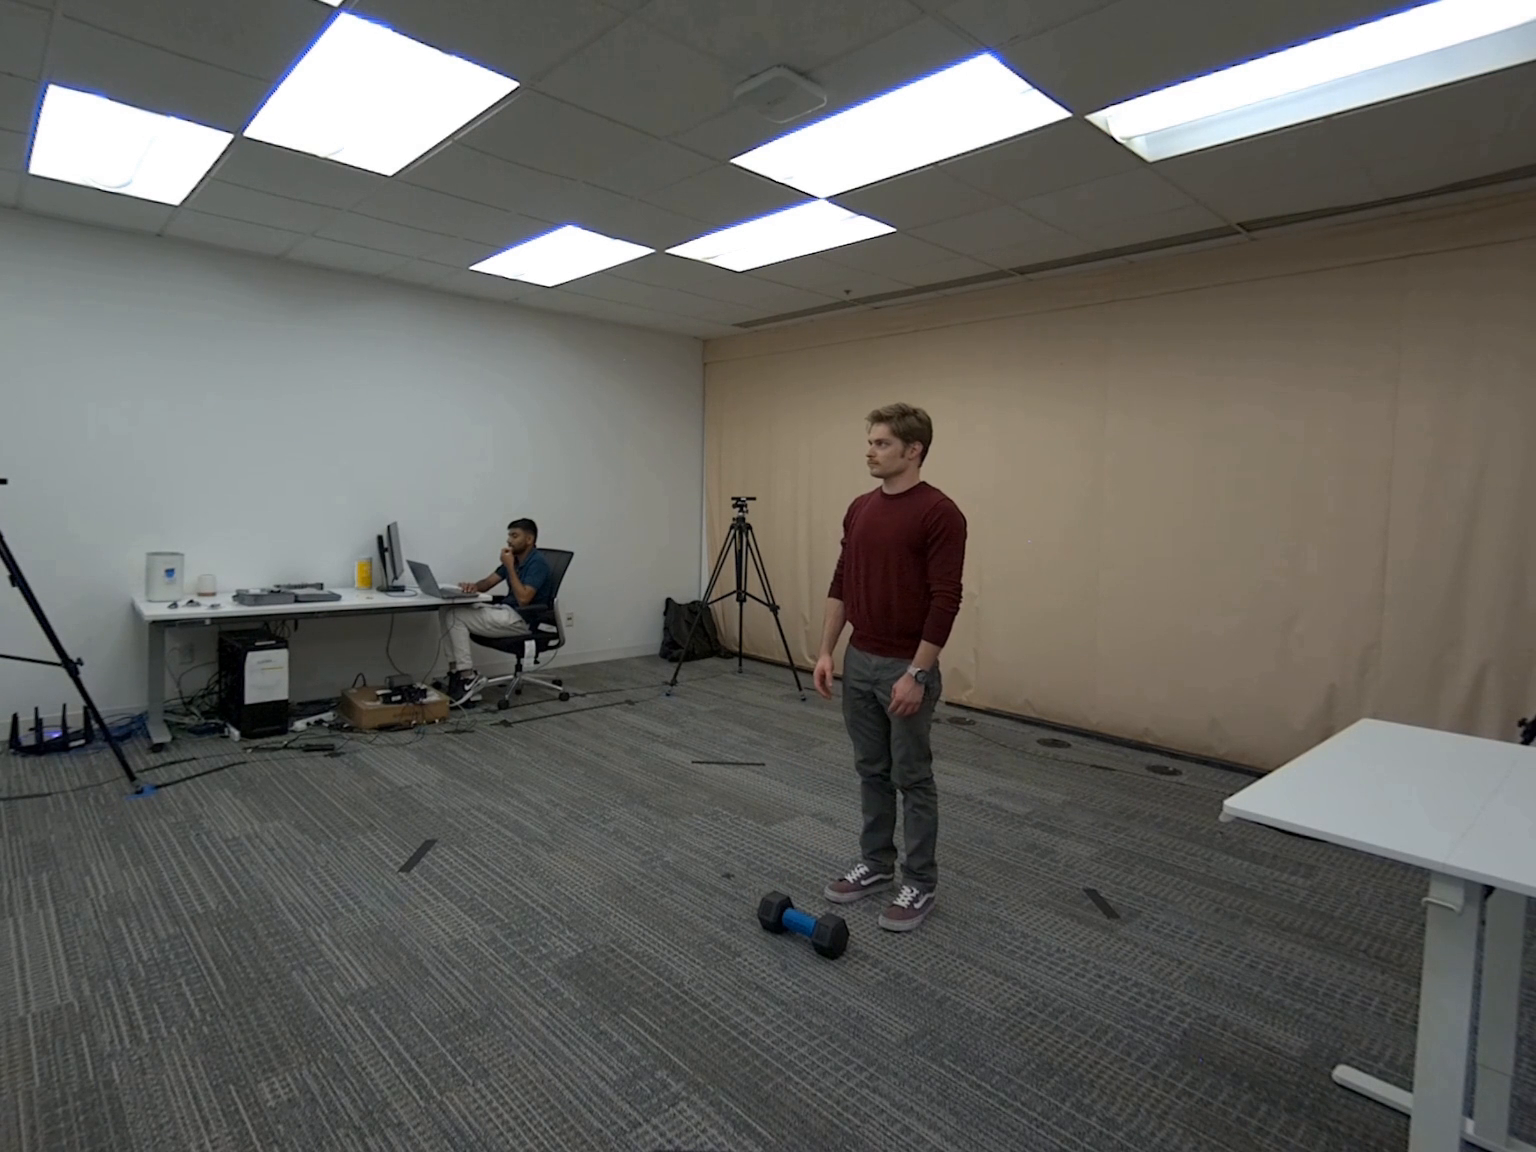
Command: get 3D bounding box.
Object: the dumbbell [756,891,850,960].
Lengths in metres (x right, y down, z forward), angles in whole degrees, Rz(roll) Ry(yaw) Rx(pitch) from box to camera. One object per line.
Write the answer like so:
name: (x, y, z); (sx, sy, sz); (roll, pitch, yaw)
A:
dumbbell: (0.104, 1.099, 2.655); (0.301, 0.124, 0.105); (6, -23, 40)
